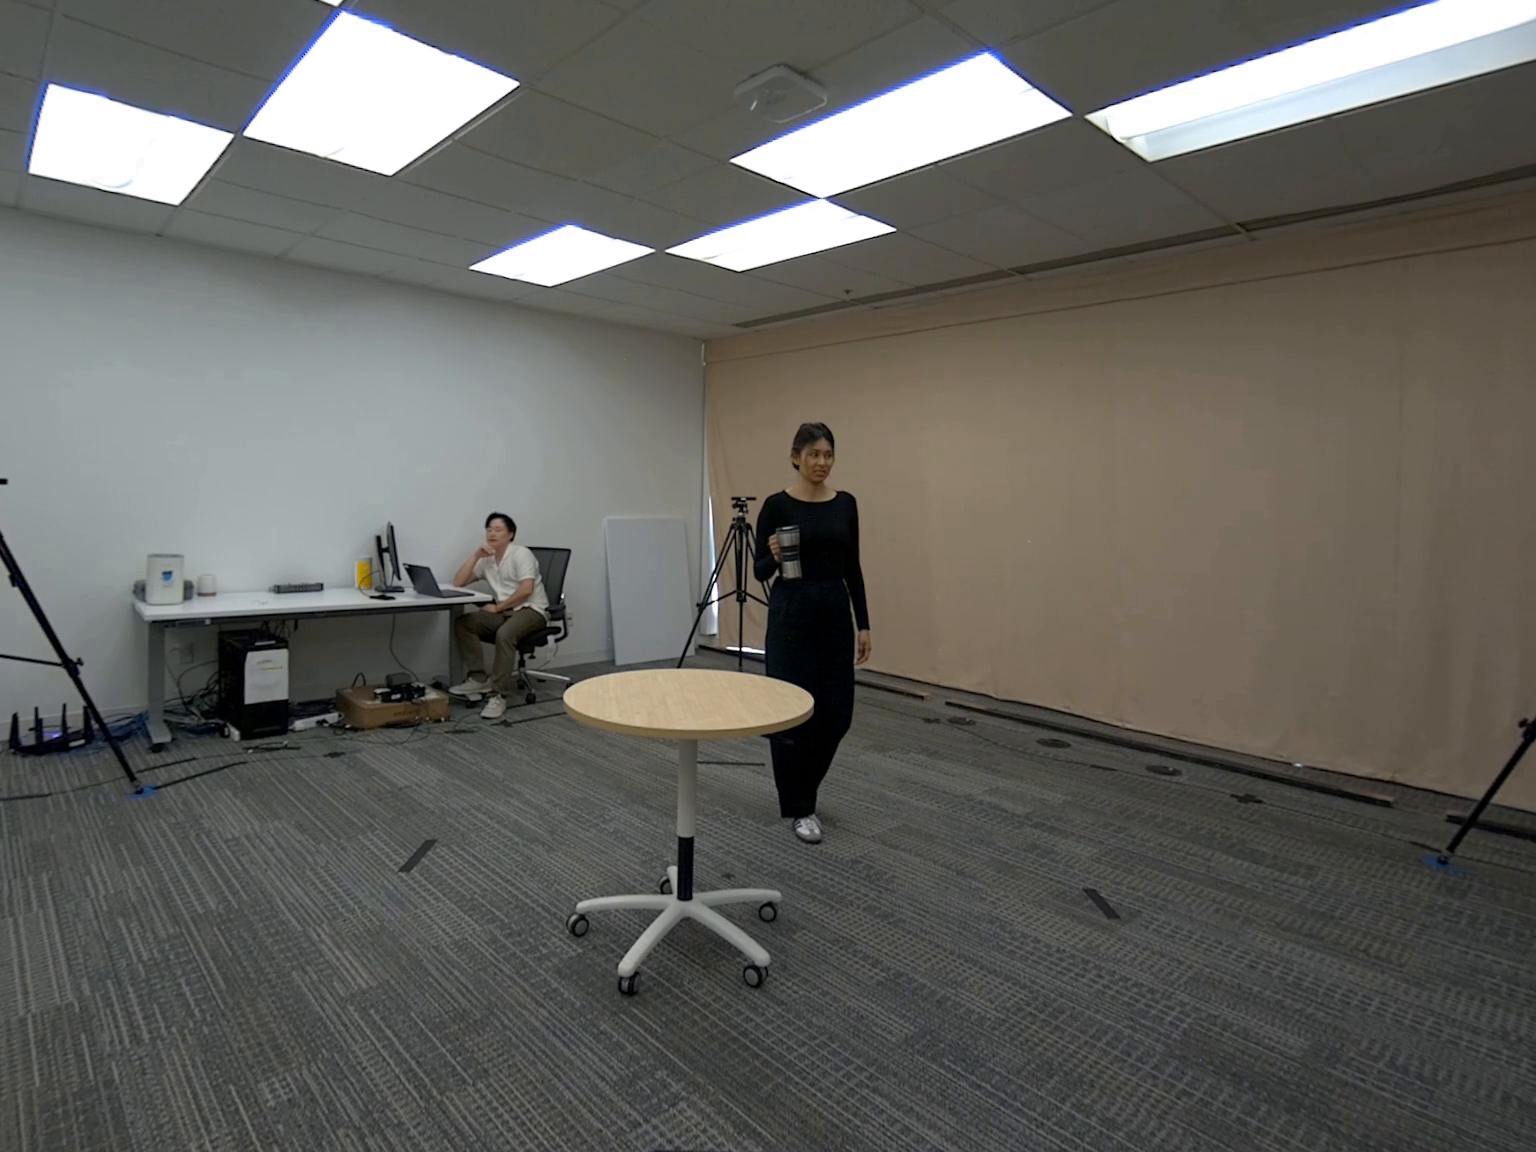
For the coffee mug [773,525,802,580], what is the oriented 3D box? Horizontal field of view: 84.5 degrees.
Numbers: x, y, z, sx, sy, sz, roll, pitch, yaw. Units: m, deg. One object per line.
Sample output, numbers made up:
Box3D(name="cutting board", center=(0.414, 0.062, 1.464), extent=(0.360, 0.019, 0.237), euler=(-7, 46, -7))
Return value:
Box3D(name="coffee mug", center=(0.088, -0.090, 3.213), extent=(0.088, 0.202, 0.121), euler=(-7, 7, 11))
